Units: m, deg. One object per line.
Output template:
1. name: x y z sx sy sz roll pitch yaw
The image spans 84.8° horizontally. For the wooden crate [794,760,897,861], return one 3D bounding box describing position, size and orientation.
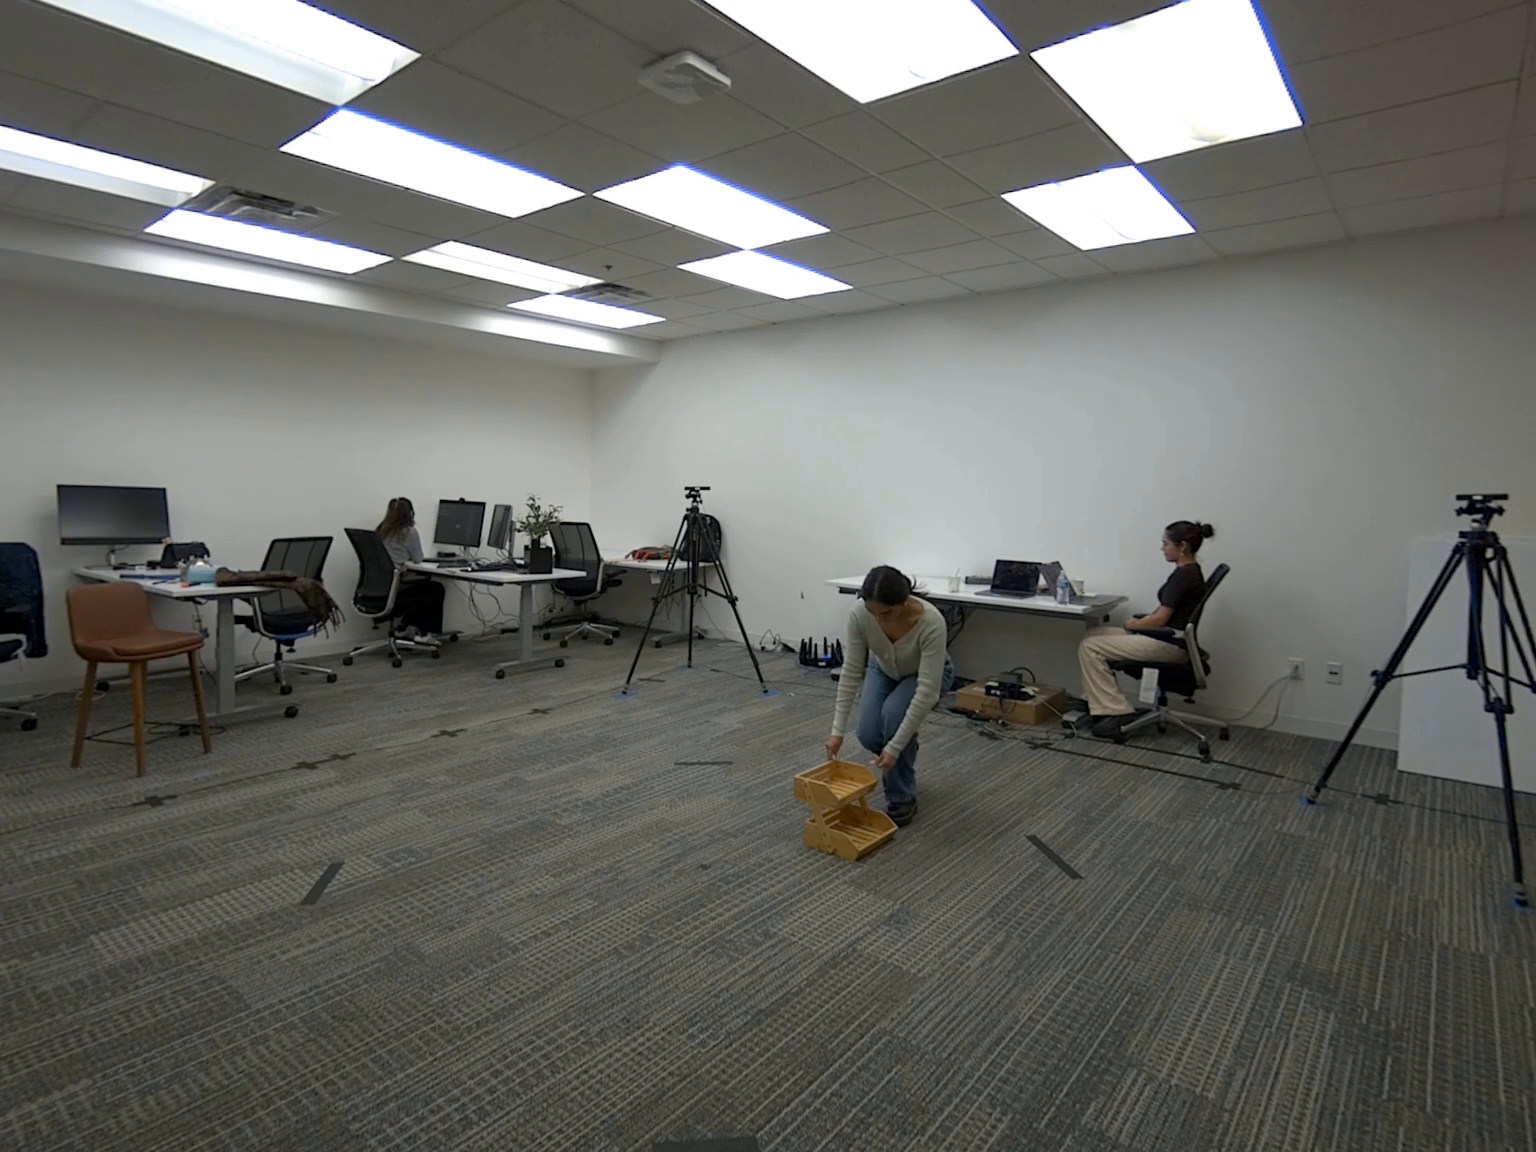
1. wooden crate: 0.305 0.913 3.378 0.312 0.272 0.315 3 5 38
